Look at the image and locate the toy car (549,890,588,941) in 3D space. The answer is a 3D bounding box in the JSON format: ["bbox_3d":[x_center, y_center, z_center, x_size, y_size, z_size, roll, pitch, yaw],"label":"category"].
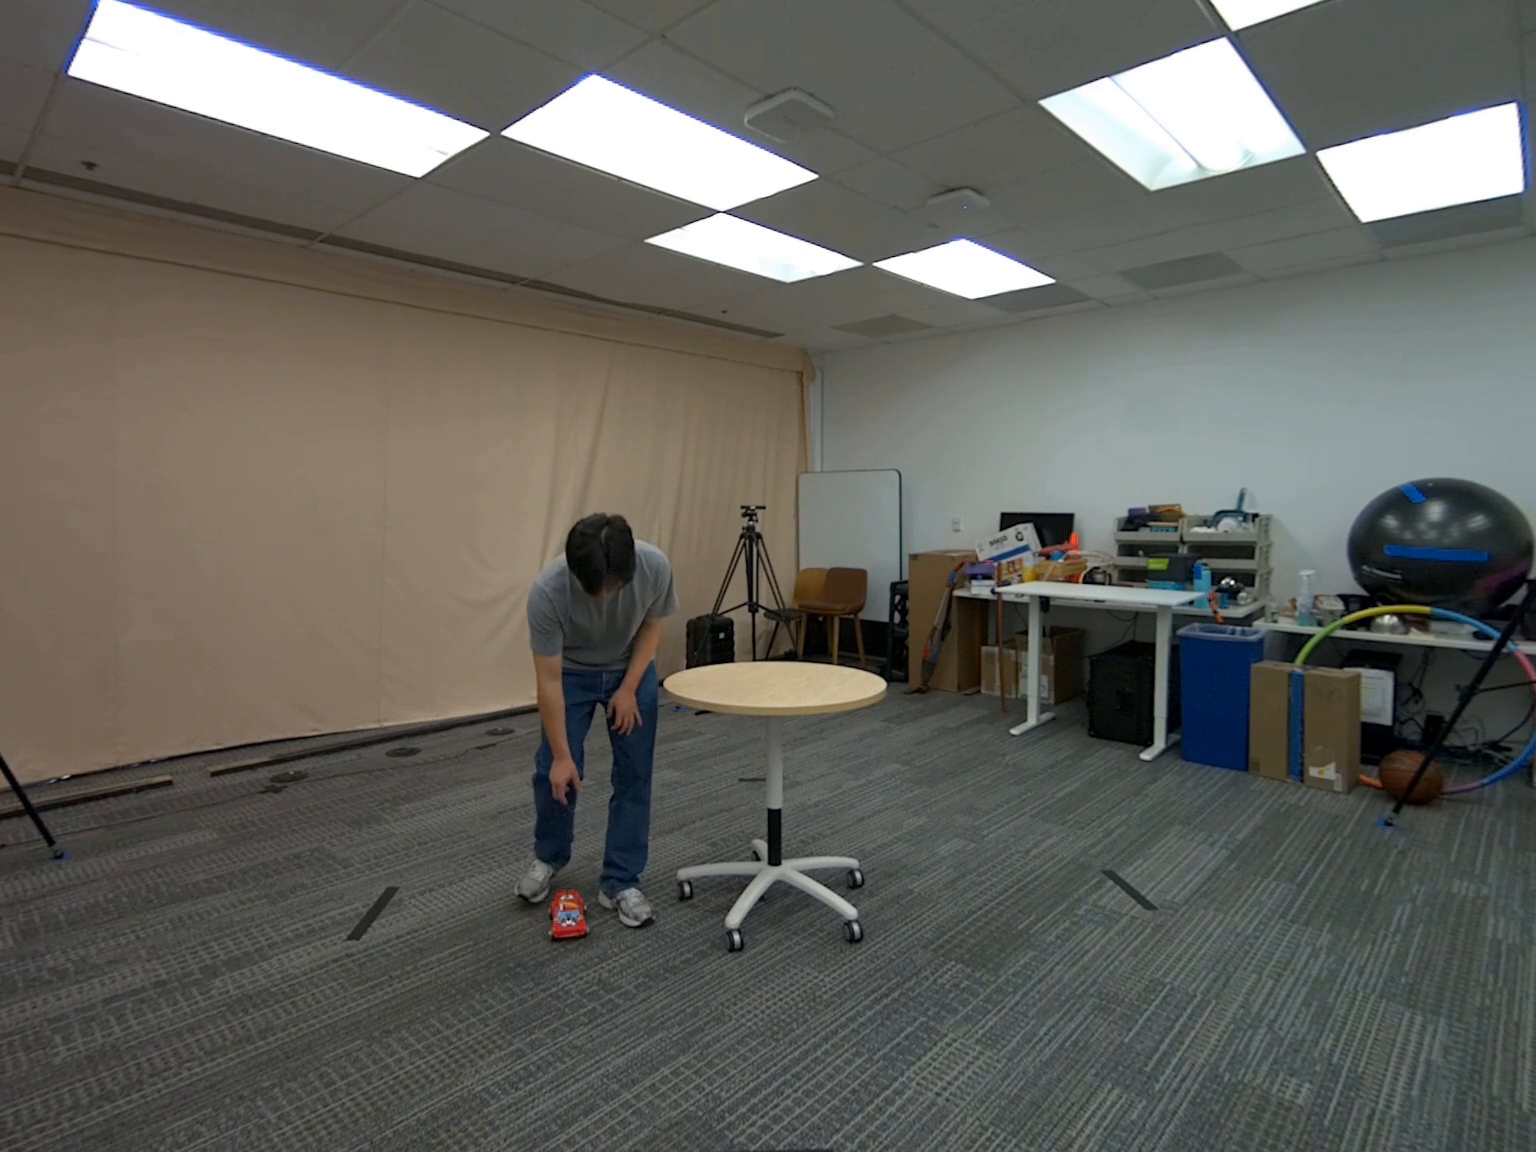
[{"bbox_3d":[-0.666,1.131,2.806,0.128,0.082,0.260,-2,15,-14],"label":"toy car"}]
